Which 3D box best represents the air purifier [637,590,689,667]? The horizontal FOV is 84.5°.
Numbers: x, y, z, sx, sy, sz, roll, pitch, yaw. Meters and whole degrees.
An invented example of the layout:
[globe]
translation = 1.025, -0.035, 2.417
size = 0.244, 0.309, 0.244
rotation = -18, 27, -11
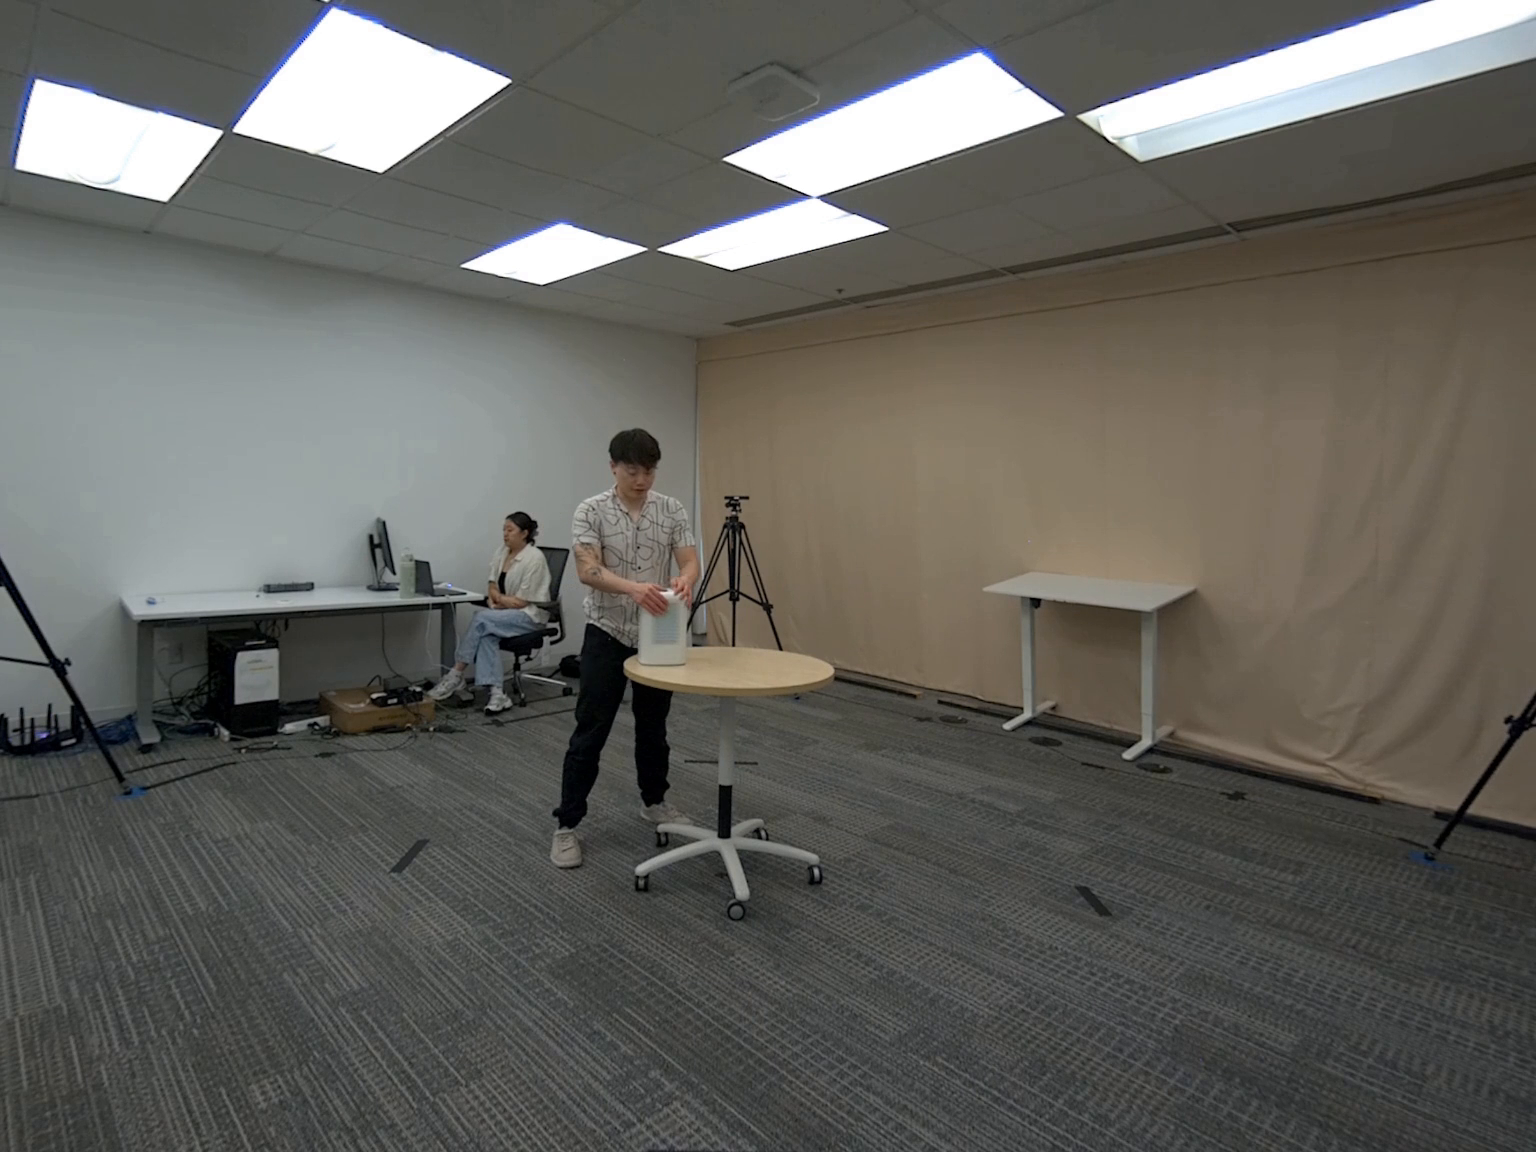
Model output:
[air purifier]
translation = -0.390, 0.185, 3.091
size = 0.171, 0.265, 0.172
rotation = 0, 1, -5
